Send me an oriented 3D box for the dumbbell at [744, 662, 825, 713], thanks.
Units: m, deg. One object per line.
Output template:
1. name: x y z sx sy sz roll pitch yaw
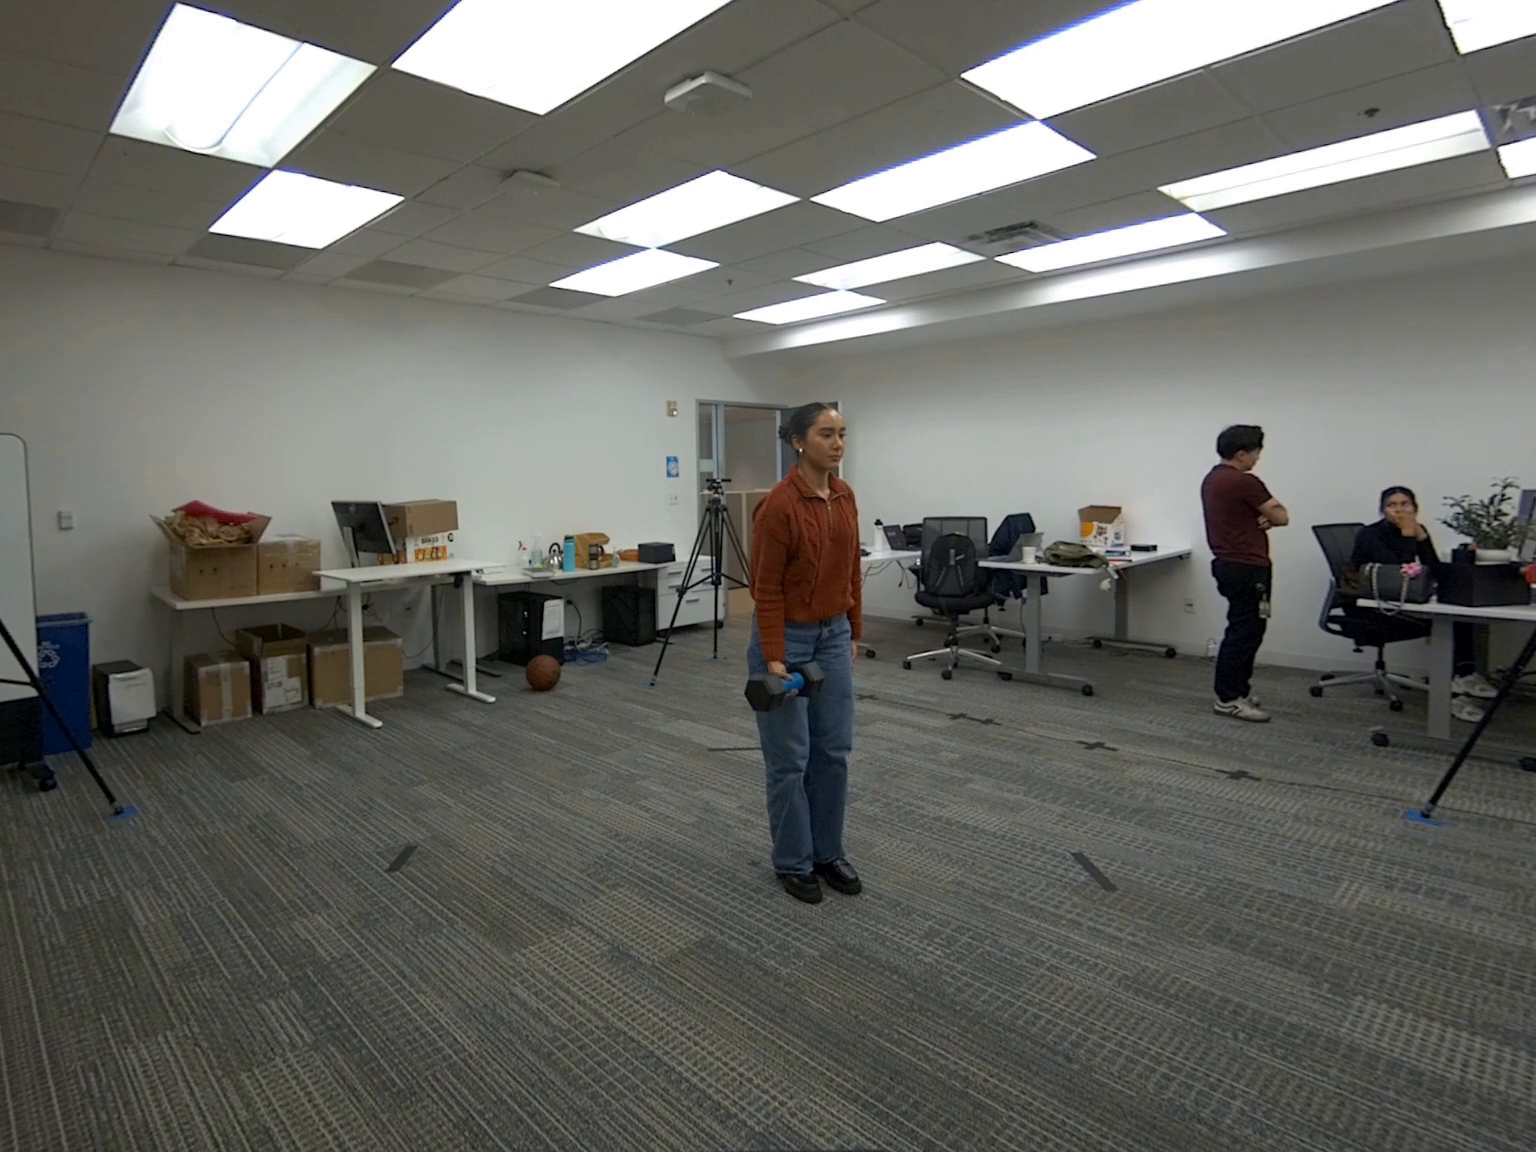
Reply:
1. dumbbell: 0.057 0.344 2.694 0.109 0.126 0.286 -42 -20 34
